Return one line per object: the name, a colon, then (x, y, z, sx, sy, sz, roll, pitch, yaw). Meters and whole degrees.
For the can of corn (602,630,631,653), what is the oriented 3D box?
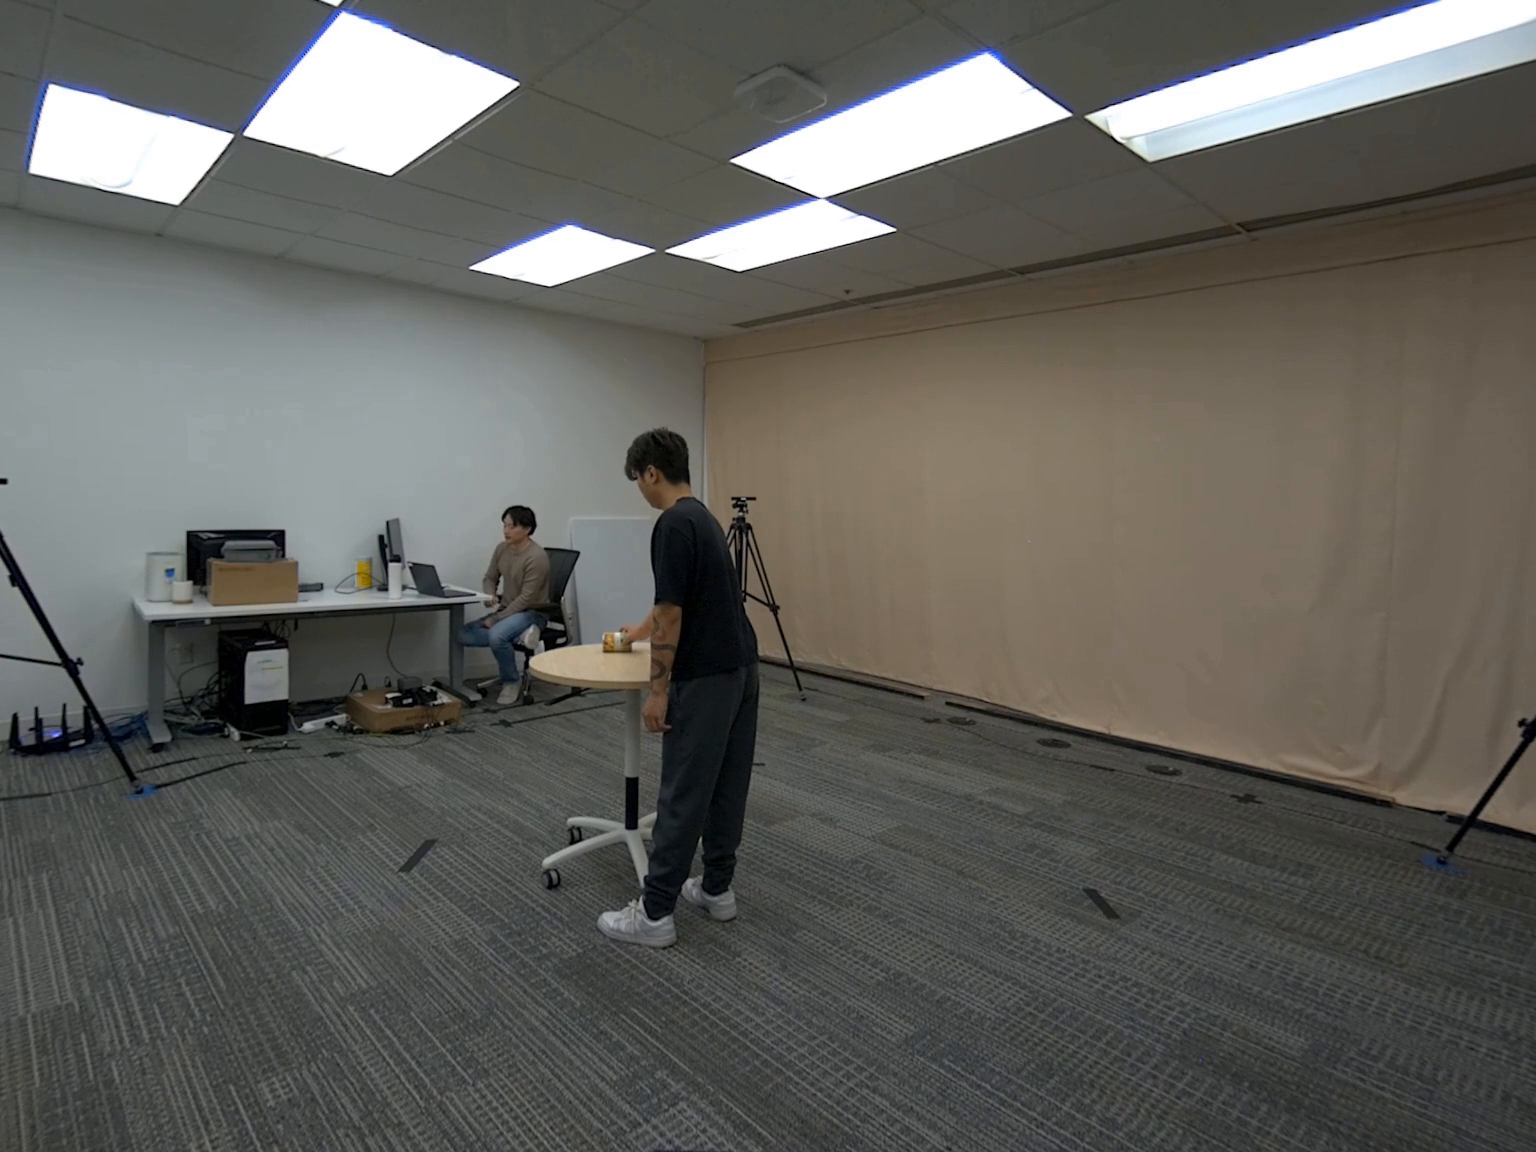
can of corn: (-0.596, 0.256, 3.313, 0.111, 0.074, 0.074, 0, 4, 0)
